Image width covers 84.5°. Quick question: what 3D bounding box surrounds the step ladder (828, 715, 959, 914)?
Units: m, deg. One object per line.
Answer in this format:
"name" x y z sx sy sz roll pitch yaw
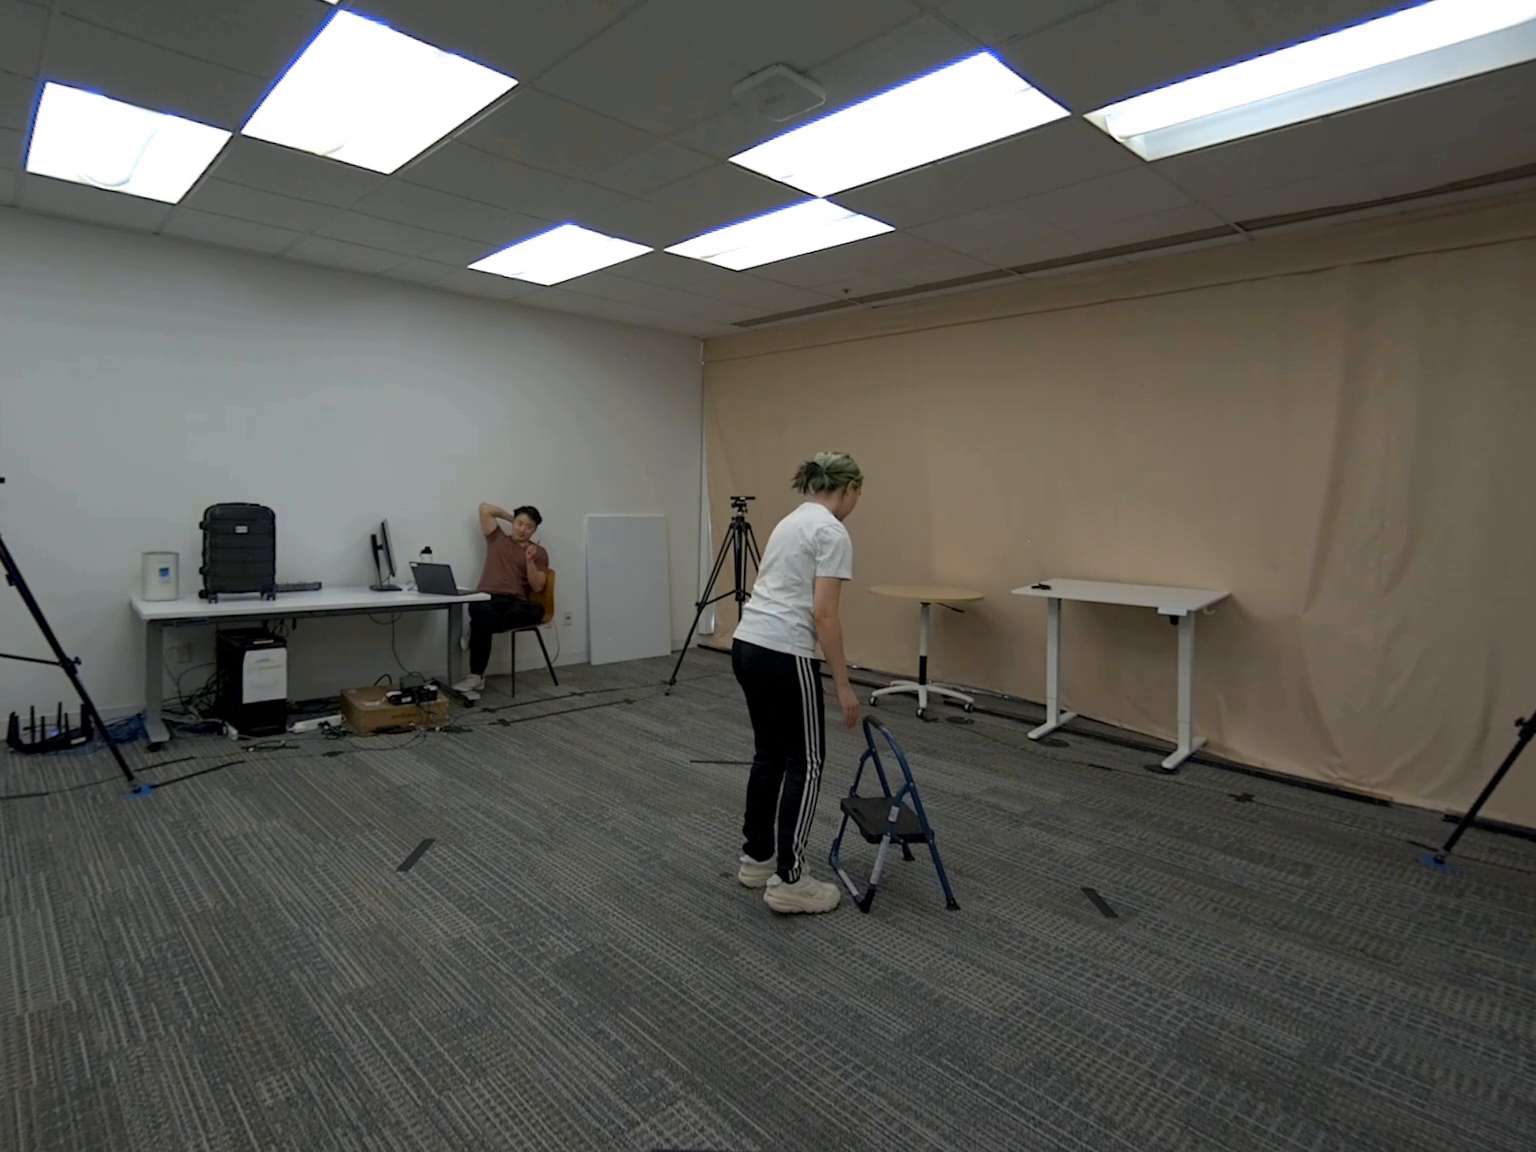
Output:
"step ladder" 0.446 0.825 3.049 0.346 0.604 0.436 1 4 -12
